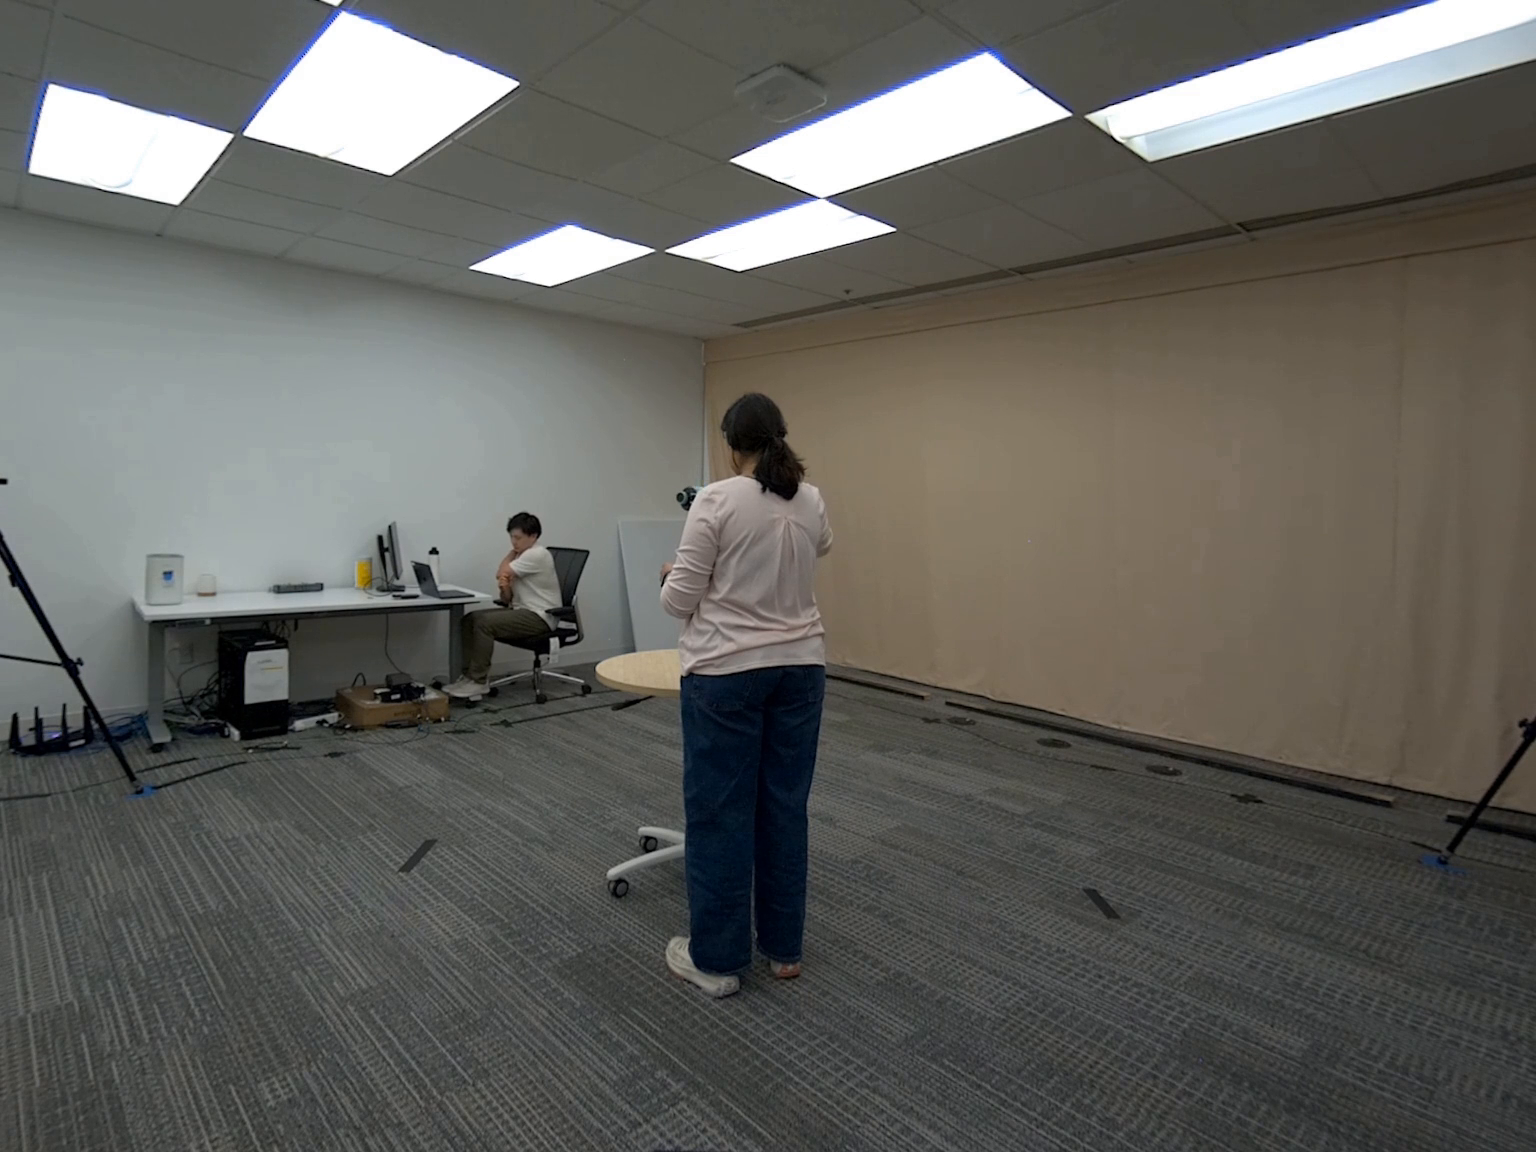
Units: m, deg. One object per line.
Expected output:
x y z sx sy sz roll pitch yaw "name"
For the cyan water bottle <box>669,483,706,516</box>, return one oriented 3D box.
-0.205 -0.243 2.788 0.094 0.092 0.277 4 0 29 "cyan water bottle"
